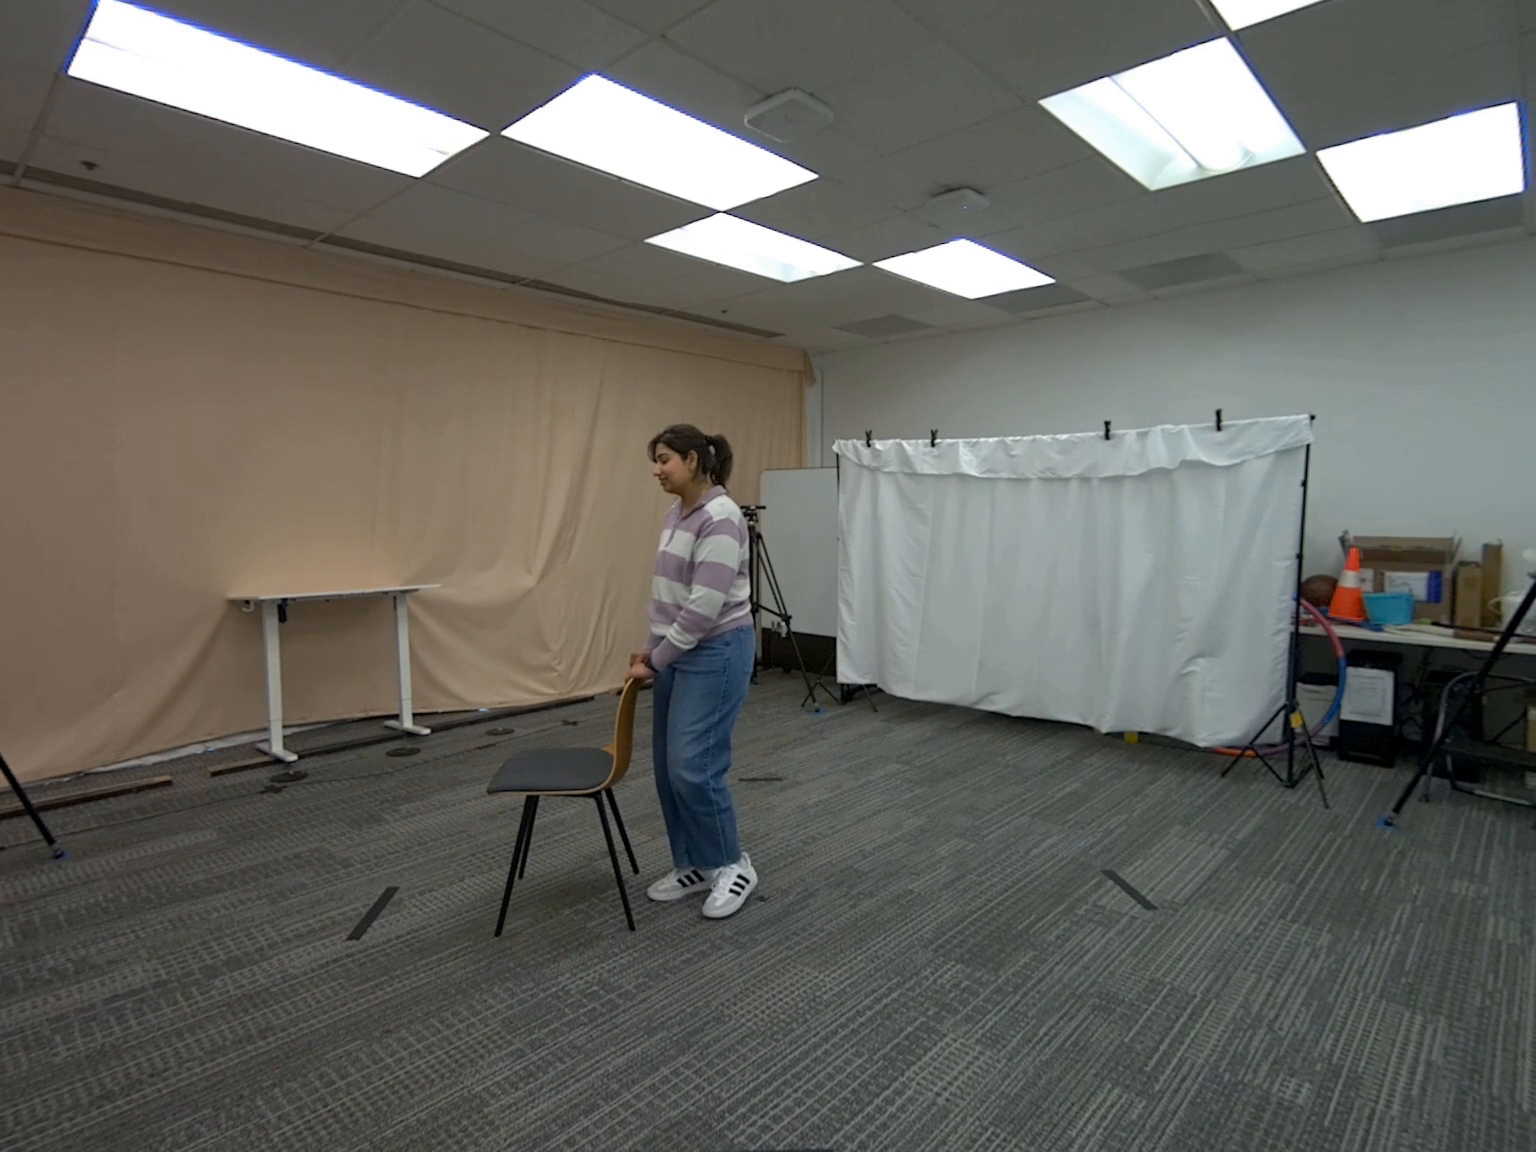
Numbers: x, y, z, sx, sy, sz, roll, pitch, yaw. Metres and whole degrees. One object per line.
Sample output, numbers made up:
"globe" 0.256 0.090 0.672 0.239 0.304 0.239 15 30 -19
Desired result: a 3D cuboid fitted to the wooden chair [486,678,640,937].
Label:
"wooden chair" -0.702 0.727 2.942 0.521 0.876 0.481 4 3 -5
